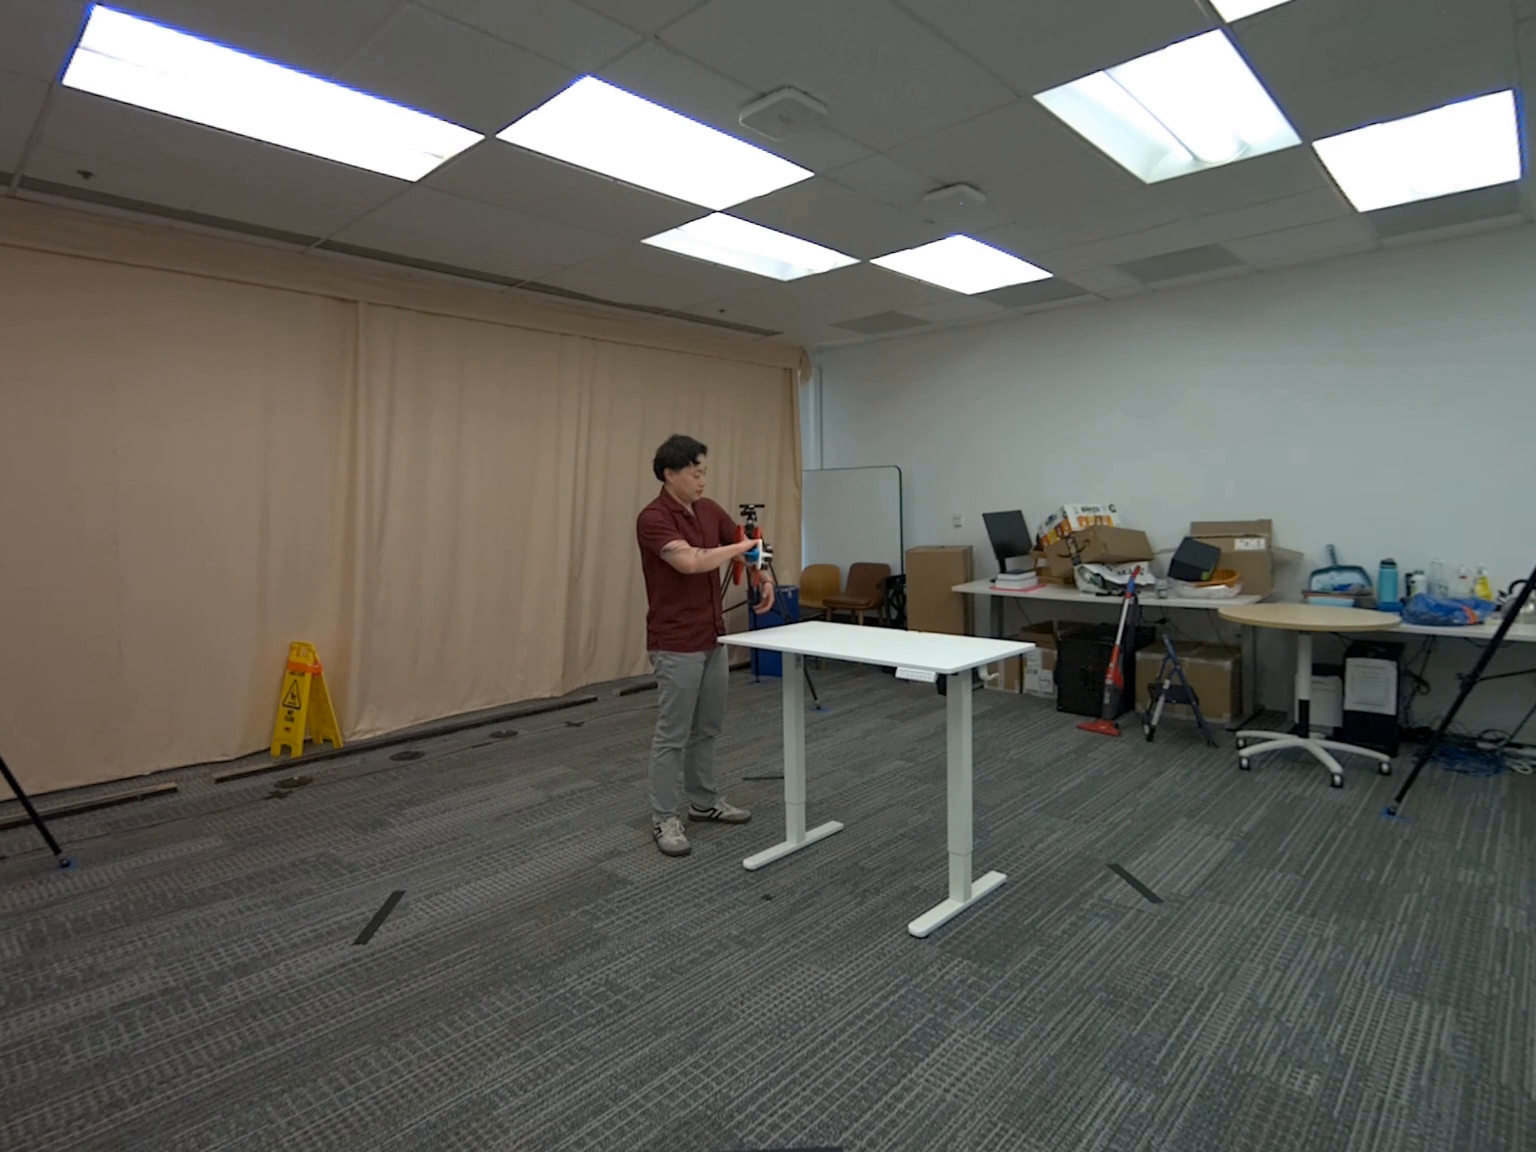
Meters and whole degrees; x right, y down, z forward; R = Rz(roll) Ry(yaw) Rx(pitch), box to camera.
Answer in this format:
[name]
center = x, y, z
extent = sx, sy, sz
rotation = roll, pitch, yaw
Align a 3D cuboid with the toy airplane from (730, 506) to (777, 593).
[toy airplane]
center = -0.064, -0.107, 3.488
extent = 0.156, 0.255, 0.256
rotation = 4, -31, -6
